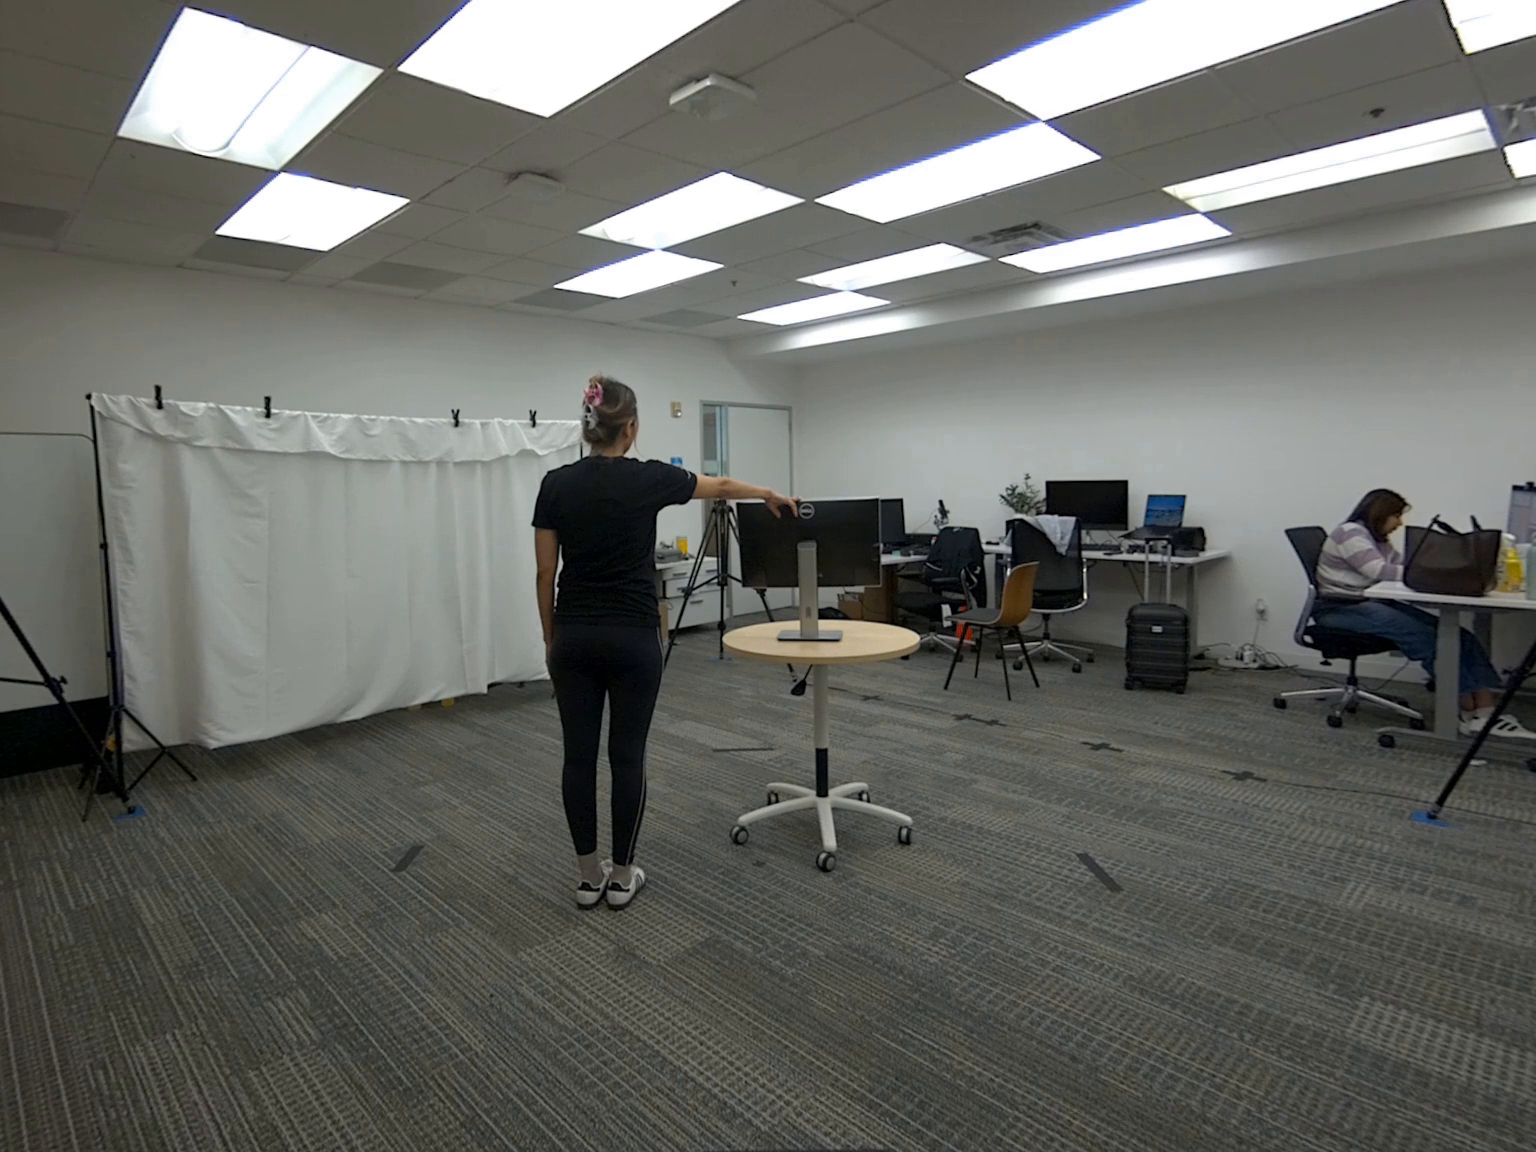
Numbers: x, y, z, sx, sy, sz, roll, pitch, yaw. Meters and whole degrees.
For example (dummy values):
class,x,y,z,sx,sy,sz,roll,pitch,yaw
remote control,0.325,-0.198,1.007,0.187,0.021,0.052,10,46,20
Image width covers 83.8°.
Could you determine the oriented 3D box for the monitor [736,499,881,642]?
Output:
class,x,y,z,sx,sy,sz,roll,pitch,yaw
monitor,0.155,-0.022,3.330,0.544,0.521,0.186,-1,4,9
